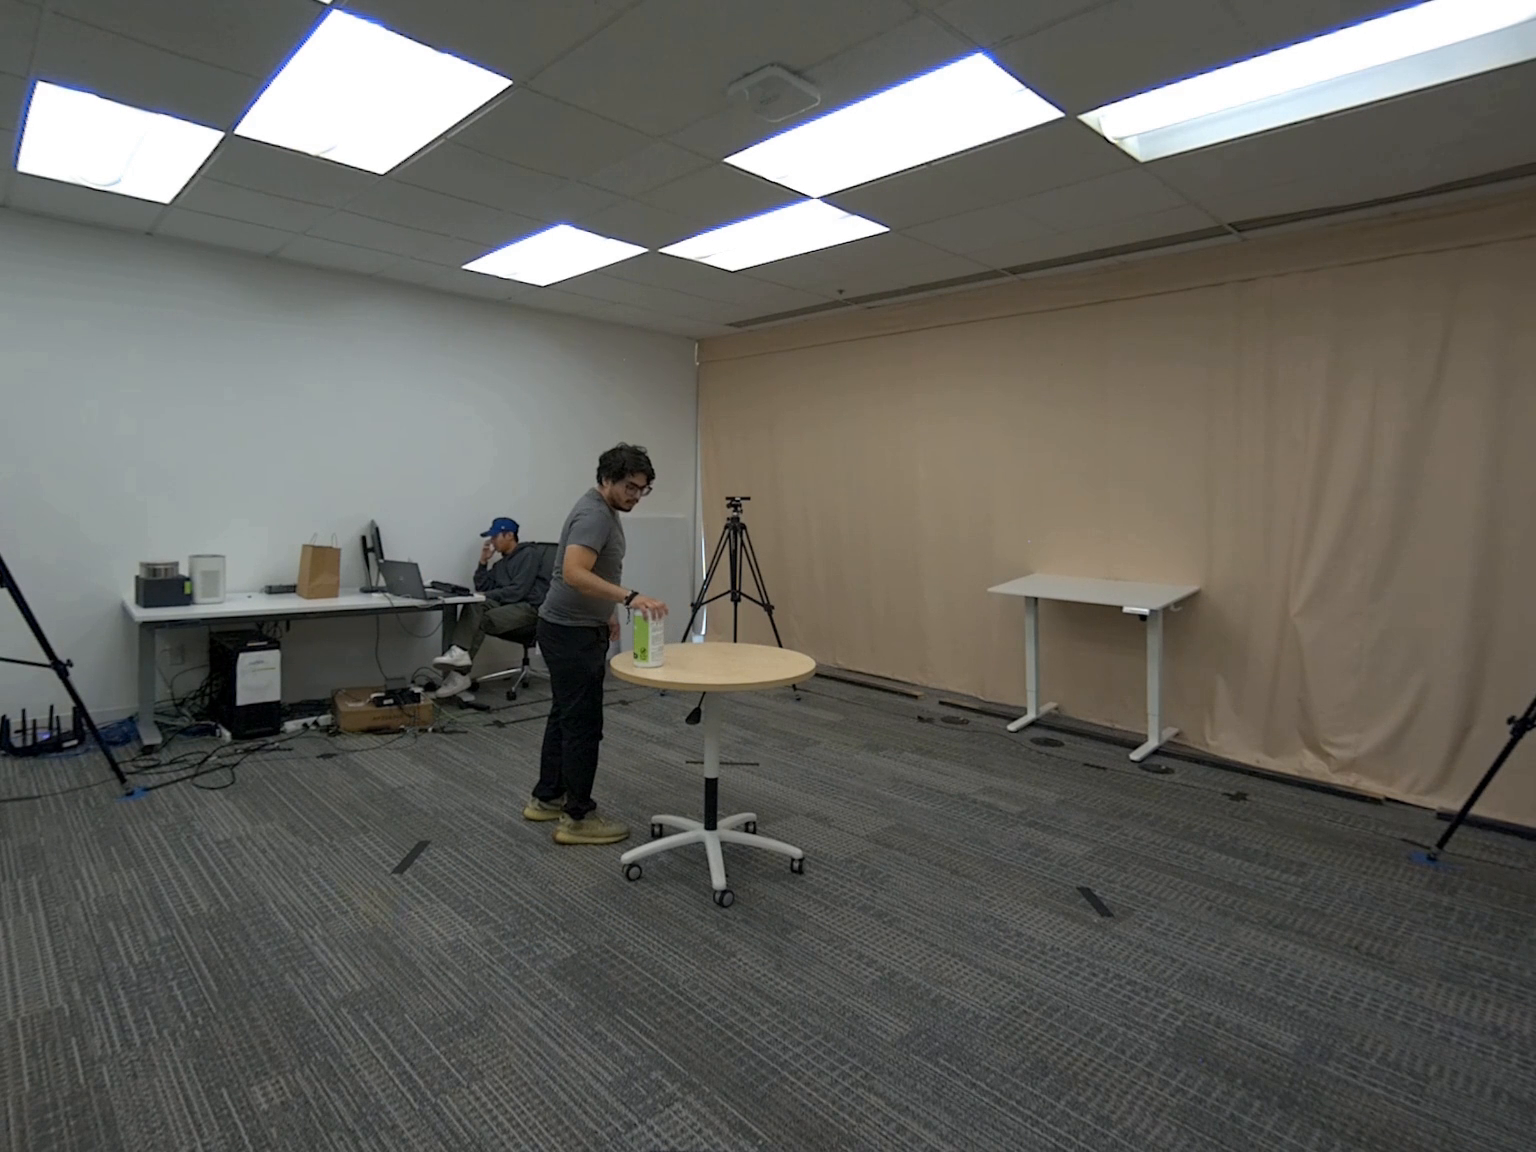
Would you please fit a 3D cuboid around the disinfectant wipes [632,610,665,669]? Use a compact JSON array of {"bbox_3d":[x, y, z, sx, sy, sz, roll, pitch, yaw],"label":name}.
[{"bbox_3d":[-0.435,0.221,3.045,0.118,0.217,0.118,-1,3,-1],"label":"disinfectant wipes"}]
